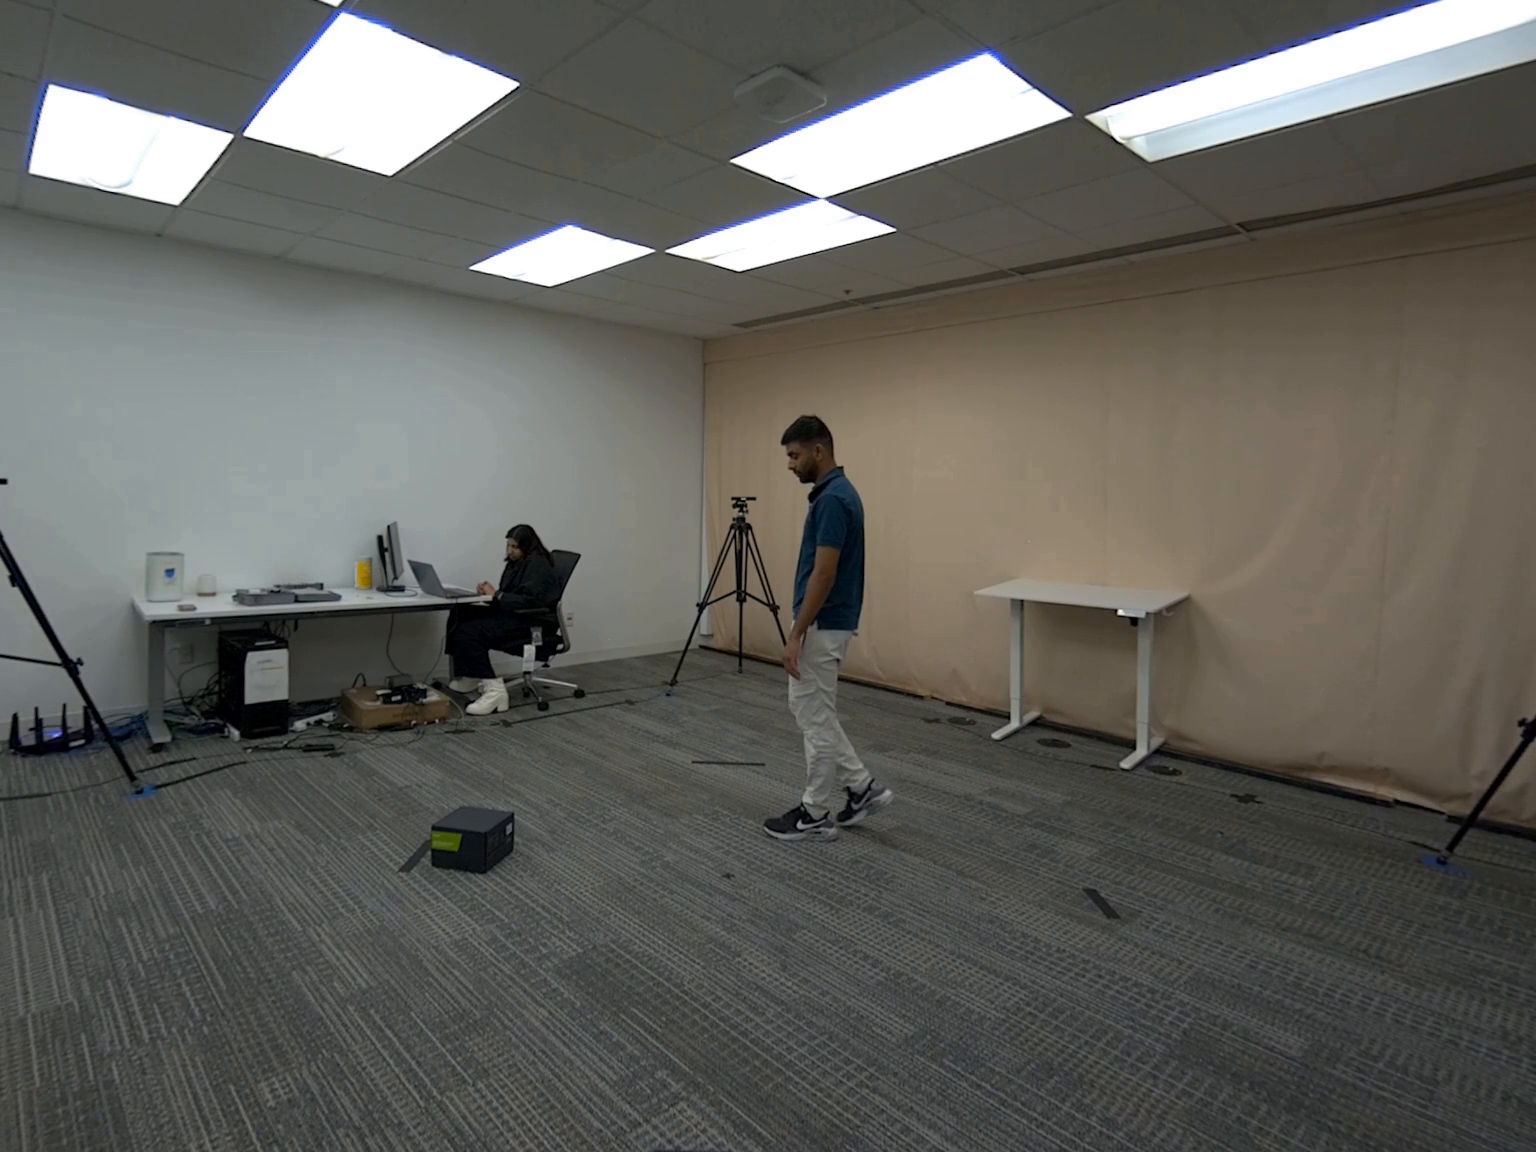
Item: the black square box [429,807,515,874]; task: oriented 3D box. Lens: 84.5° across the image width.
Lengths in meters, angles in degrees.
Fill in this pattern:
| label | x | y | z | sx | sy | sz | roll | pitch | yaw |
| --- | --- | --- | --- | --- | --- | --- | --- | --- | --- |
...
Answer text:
| label | x | y | z | sx | sy | sz | roll | pitch | yaw |
| --- | --- | --- | --- | --- | --- | --- | --- | --- | --- |
| black square box | -1.128 | 0.994 | 3.194 | 0.230 | 0.155 | 0.215 | 3 | 4 | 12 |
